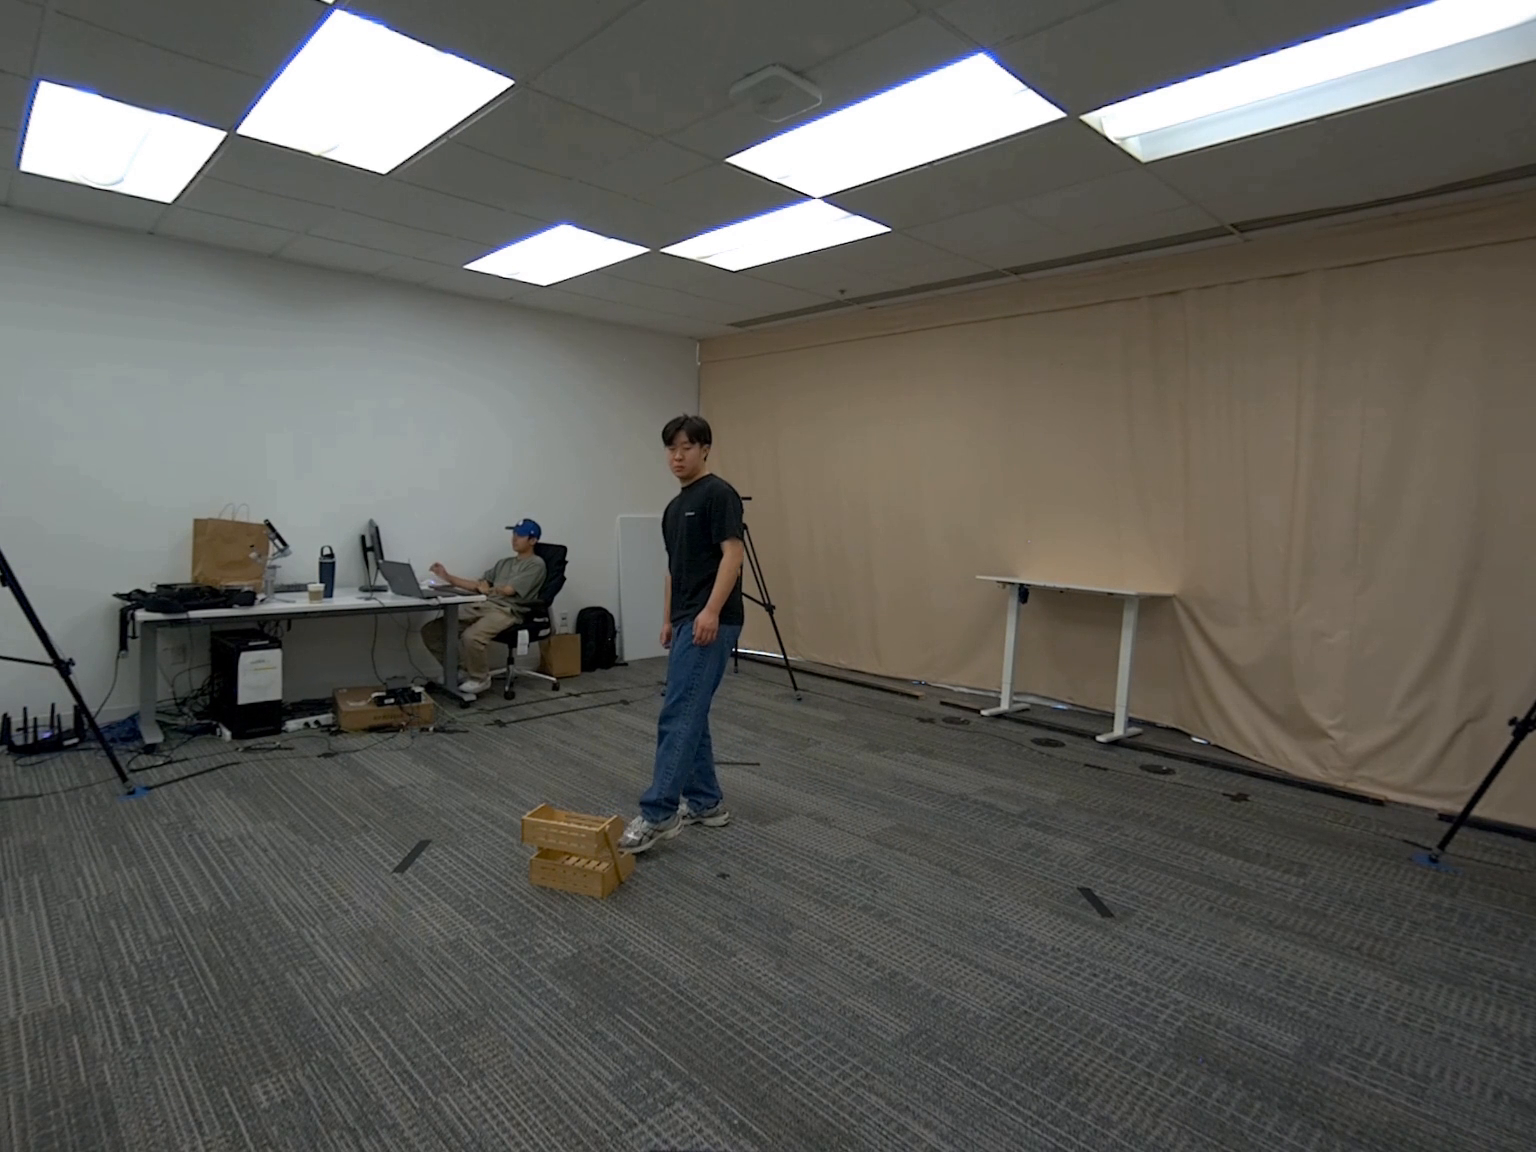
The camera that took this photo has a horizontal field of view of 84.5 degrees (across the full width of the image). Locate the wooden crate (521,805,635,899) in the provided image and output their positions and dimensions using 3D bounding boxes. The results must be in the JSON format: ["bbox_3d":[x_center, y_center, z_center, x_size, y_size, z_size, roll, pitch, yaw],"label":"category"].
[{"bbox_3d":[-0.684,0.968,3.043,0.329,0.272,0.298,3,5,18],"label":"wooden crate"}]
